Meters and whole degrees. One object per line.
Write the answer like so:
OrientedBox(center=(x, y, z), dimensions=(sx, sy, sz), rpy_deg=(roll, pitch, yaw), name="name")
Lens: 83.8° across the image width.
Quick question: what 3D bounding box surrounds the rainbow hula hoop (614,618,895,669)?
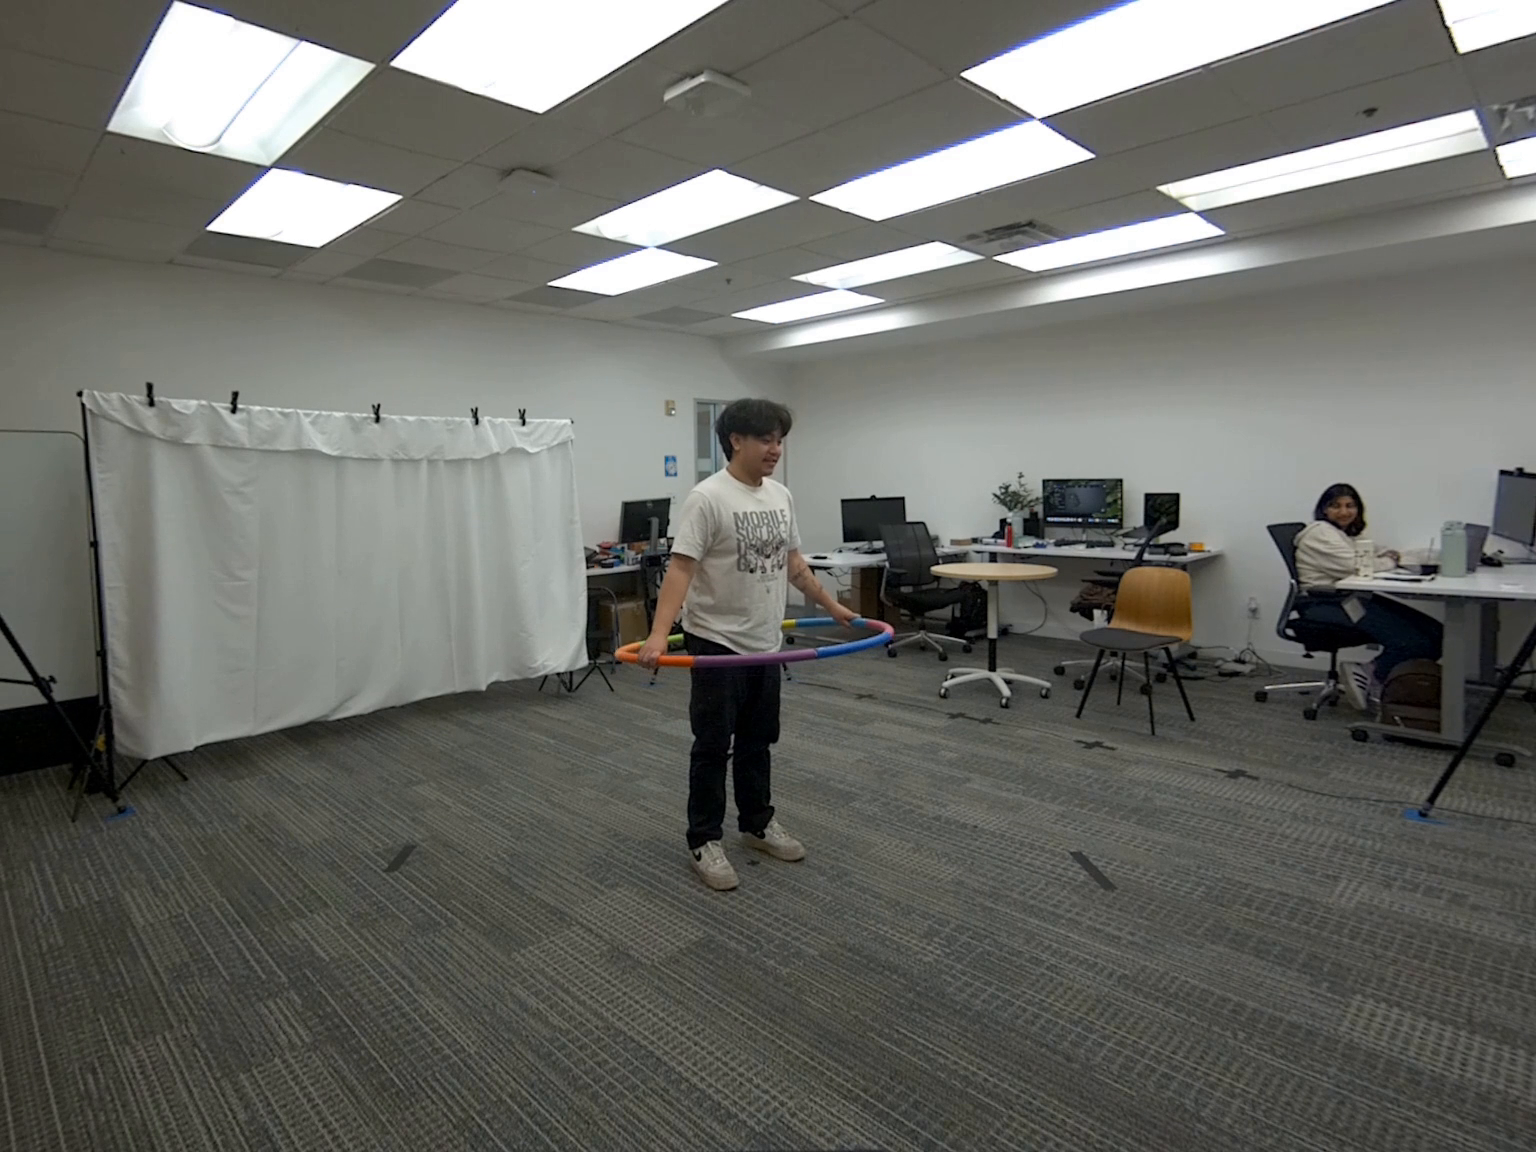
OrientedBox(center=(-0.048, 0.228, 3.041), dimensions=(0.985, 0.051, 0.987), rpy_deg=(-5, 3, -2), name="rainbow hula hoop")
